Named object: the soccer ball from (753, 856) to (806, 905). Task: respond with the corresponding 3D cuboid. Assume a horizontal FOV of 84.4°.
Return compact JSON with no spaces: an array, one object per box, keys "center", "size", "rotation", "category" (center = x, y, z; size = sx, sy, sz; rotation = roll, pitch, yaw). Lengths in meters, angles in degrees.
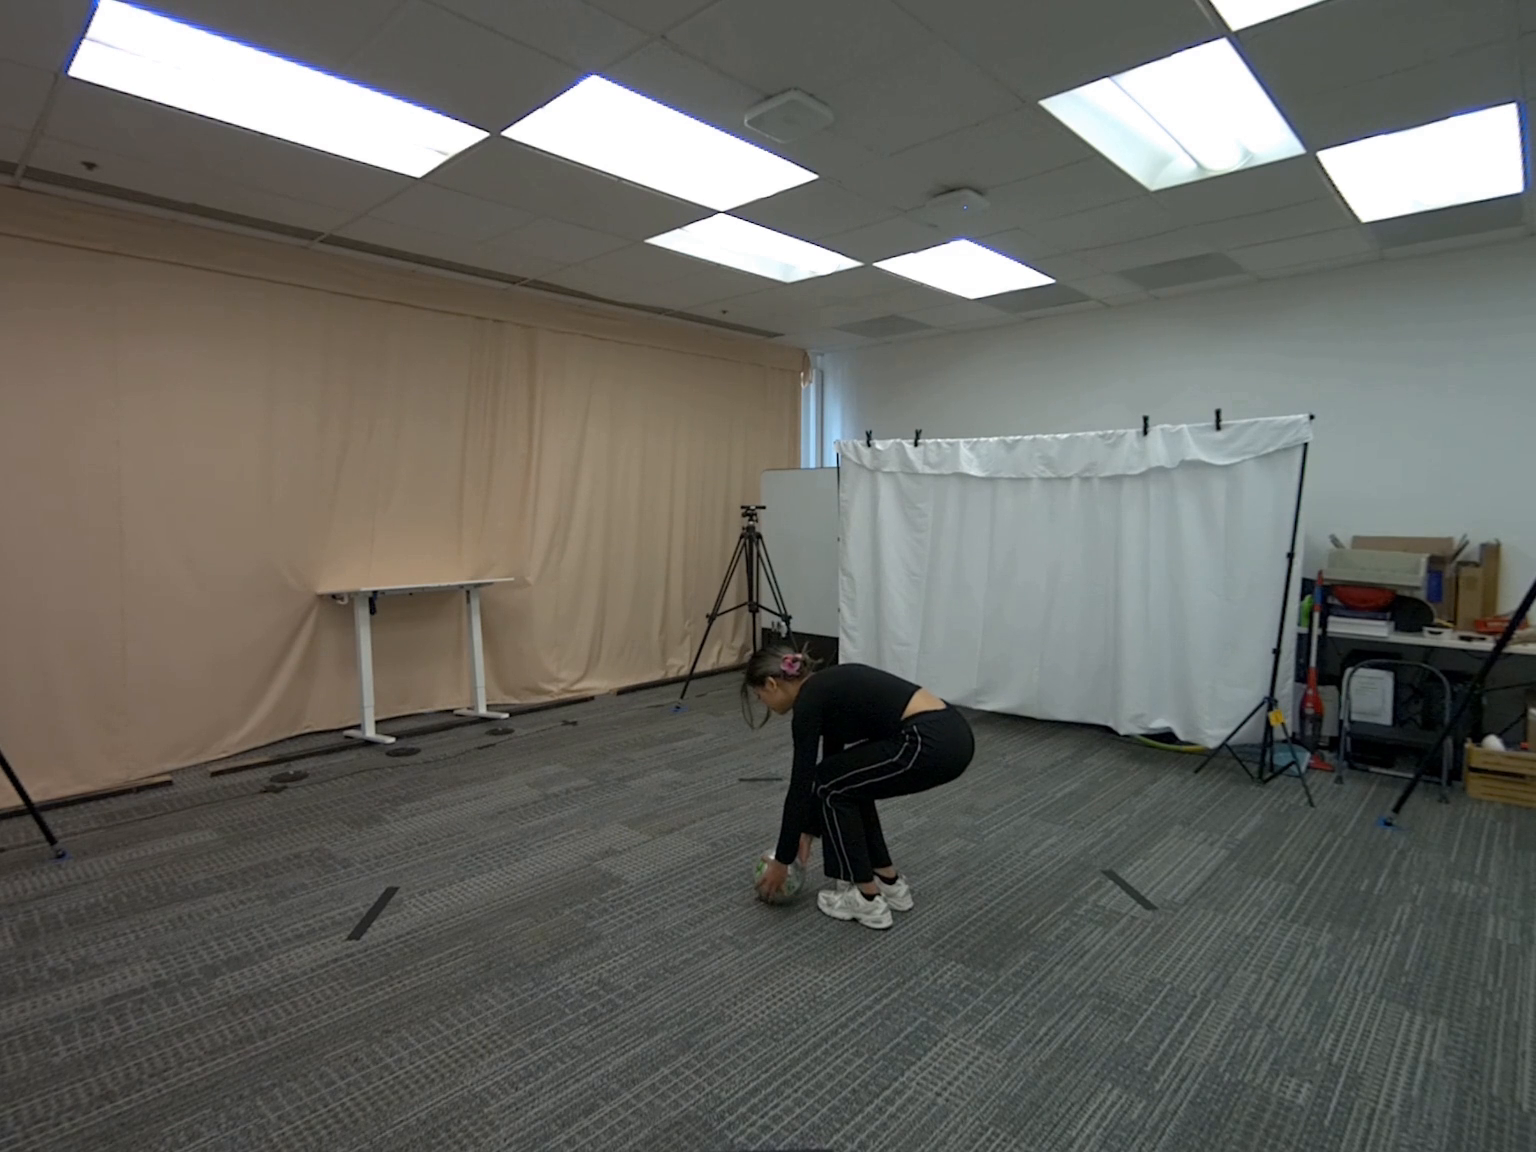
[{"center":[0.044,1.056,2.960],"size":[0.187,0.187,0.188],"rotation":[0,4,-2],"category":"soccer ball"}]
